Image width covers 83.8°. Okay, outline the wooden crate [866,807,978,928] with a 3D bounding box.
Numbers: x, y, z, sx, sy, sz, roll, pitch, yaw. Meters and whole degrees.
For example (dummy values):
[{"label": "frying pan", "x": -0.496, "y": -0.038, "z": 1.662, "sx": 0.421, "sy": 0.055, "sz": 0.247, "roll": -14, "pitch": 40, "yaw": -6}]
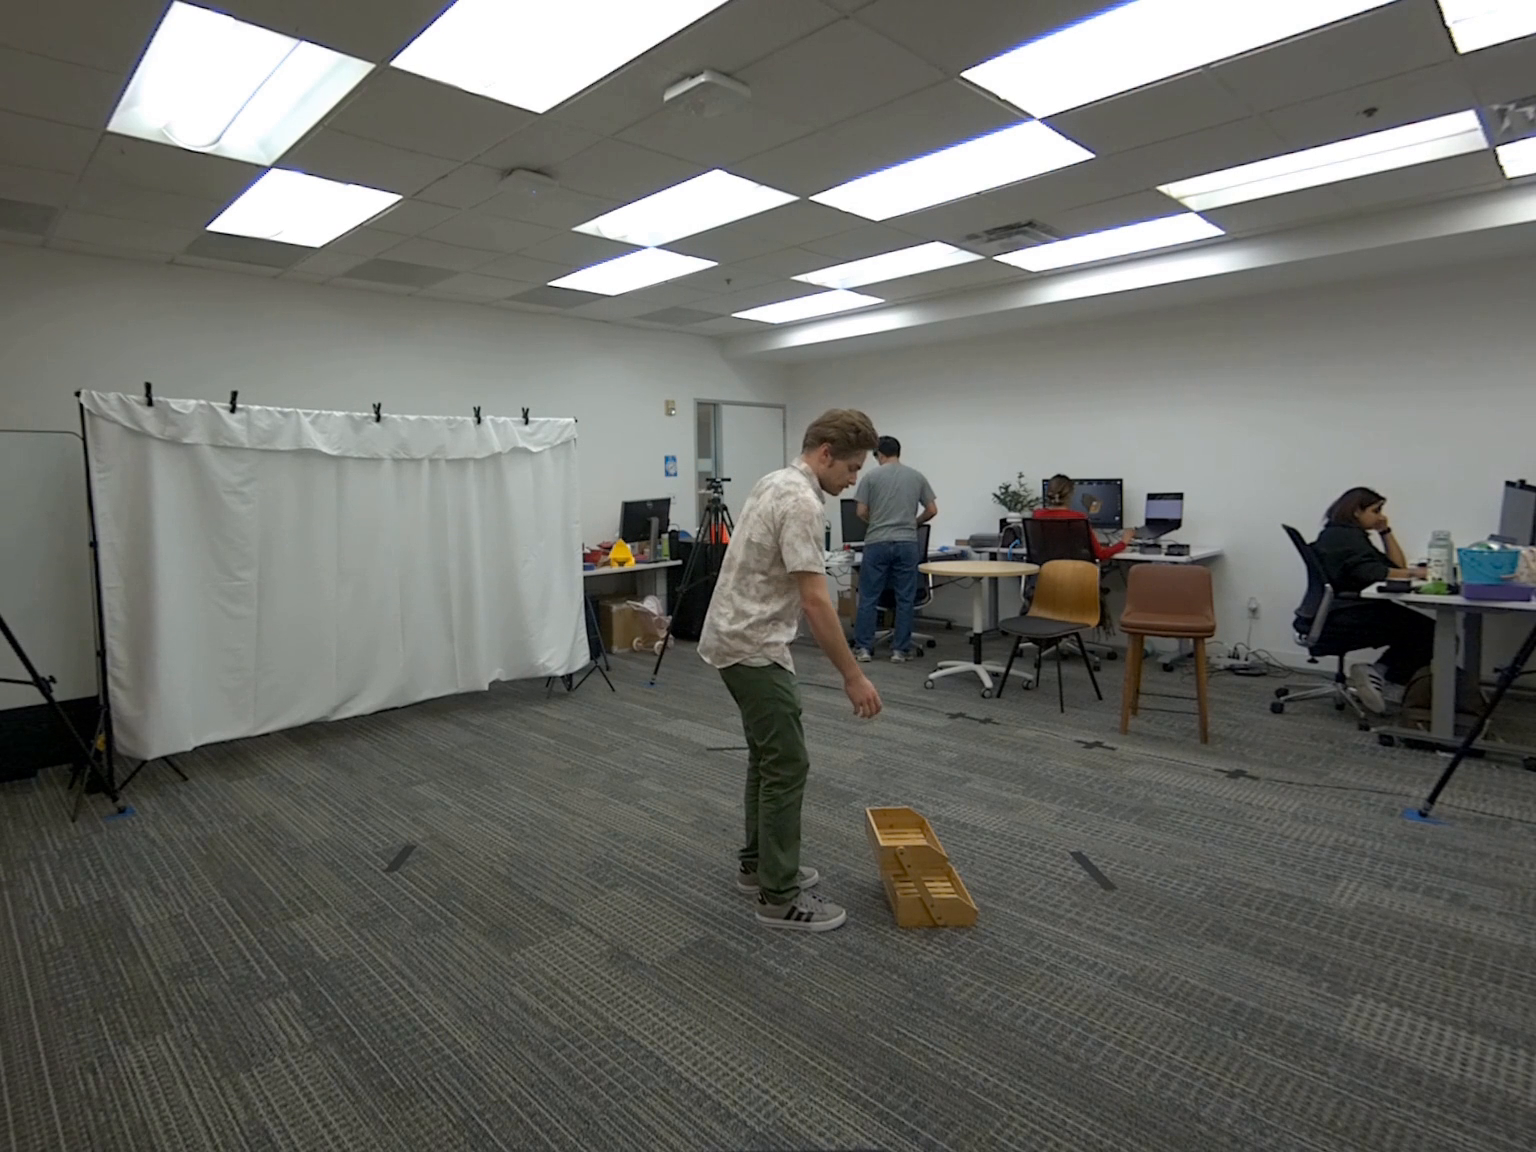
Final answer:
[{"label": "wooden crate", "x": 0.495, "y": 0.933, "z": 2.783, "sx": 0.302, "sy": 0.272, "sz": 0.326, "roll": -2, "pitch": 5, "yaw": -1}]
